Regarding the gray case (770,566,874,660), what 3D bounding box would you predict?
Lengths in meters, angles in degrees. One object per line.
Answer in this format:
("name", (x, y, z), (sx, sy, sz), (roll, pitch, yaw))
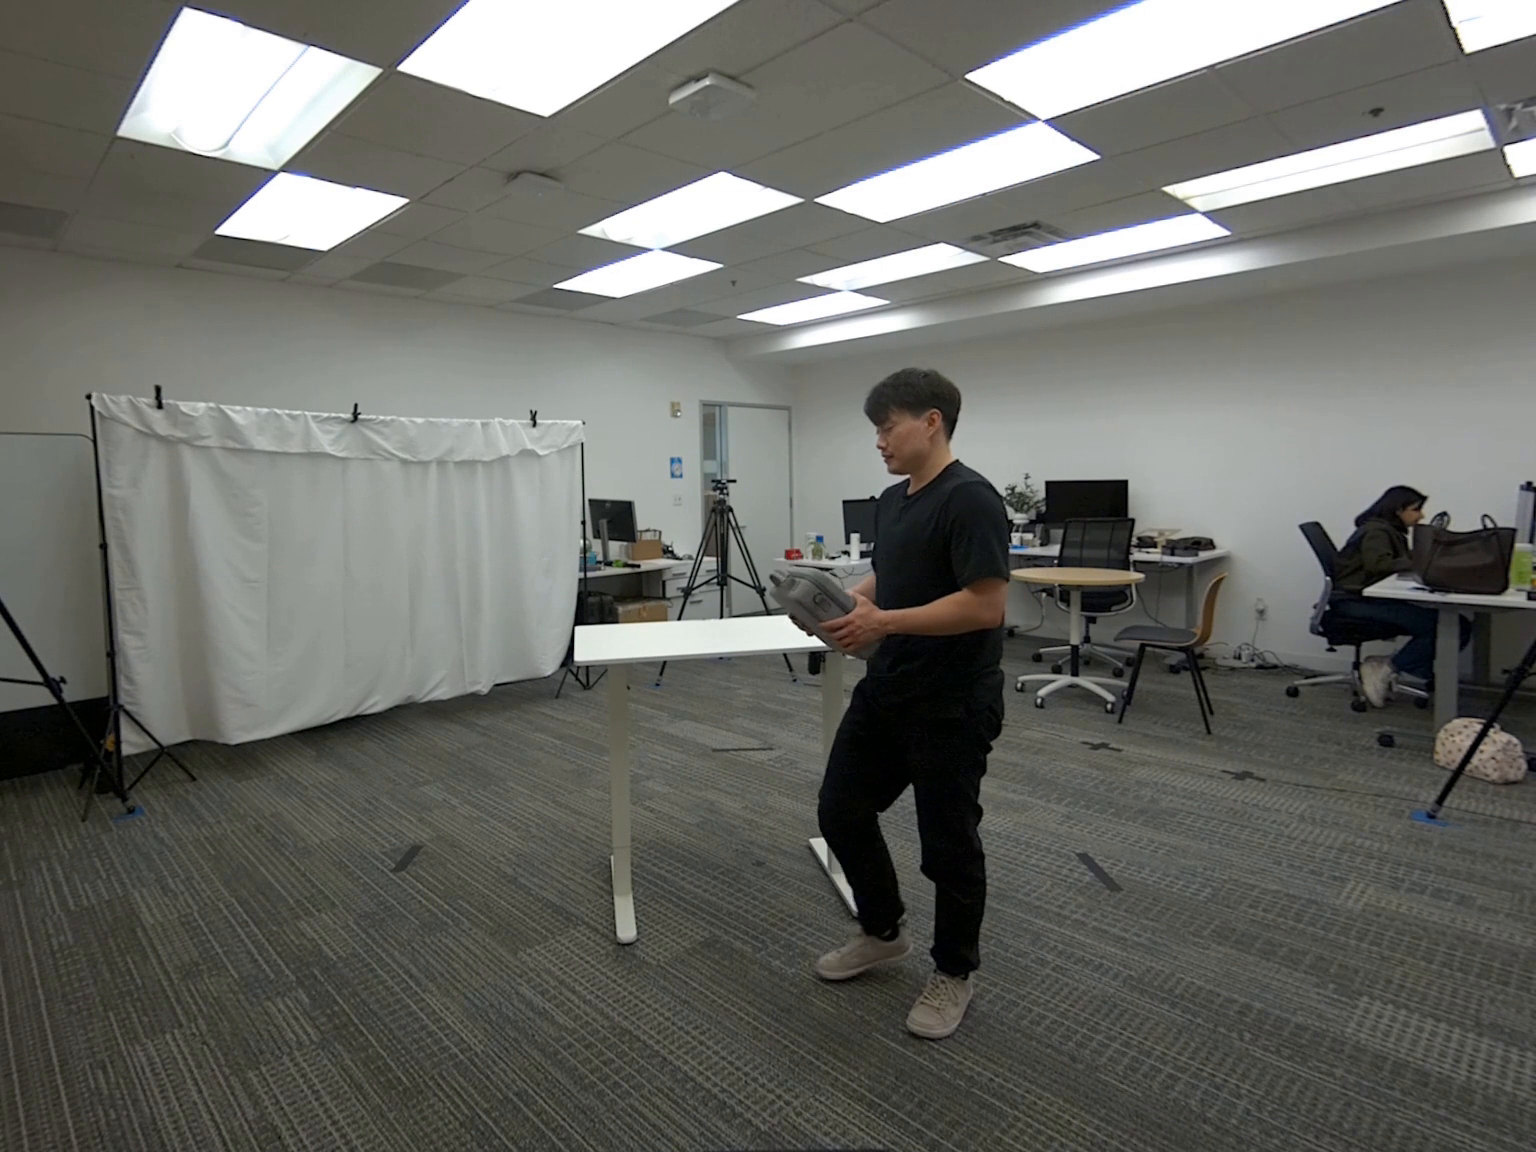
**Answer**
("gray case", (0.147, 0.085, 2.119), (0.257, 0.104, 0.260), (40, -8, -10))
